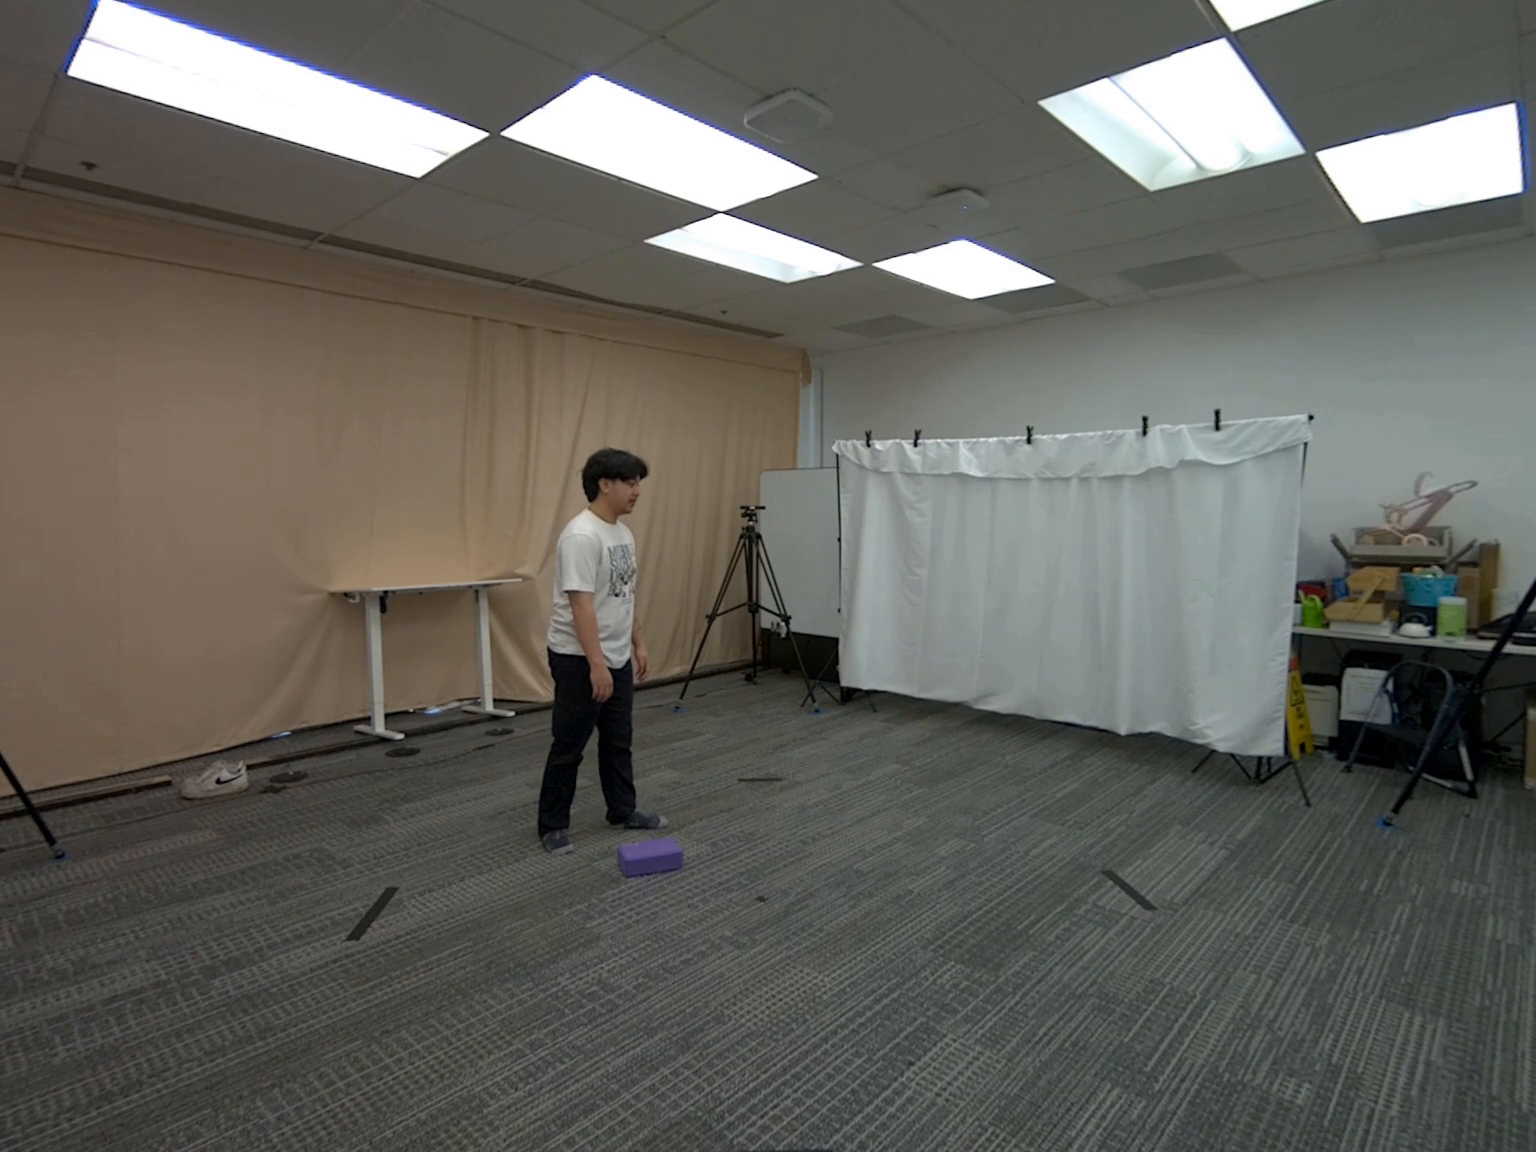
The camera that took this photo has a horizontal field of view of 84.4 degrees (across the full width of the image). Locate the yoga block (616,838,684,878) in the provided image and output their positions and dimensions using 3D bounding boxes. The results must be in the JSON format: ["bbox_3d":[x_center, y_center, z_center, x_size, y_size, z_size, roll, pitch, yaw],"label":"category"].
[{"bbox_3d":[-0.456,1.084,3.254,0.225,0.076,0.152,-3,5,-21],"label":"yoga block"}]
